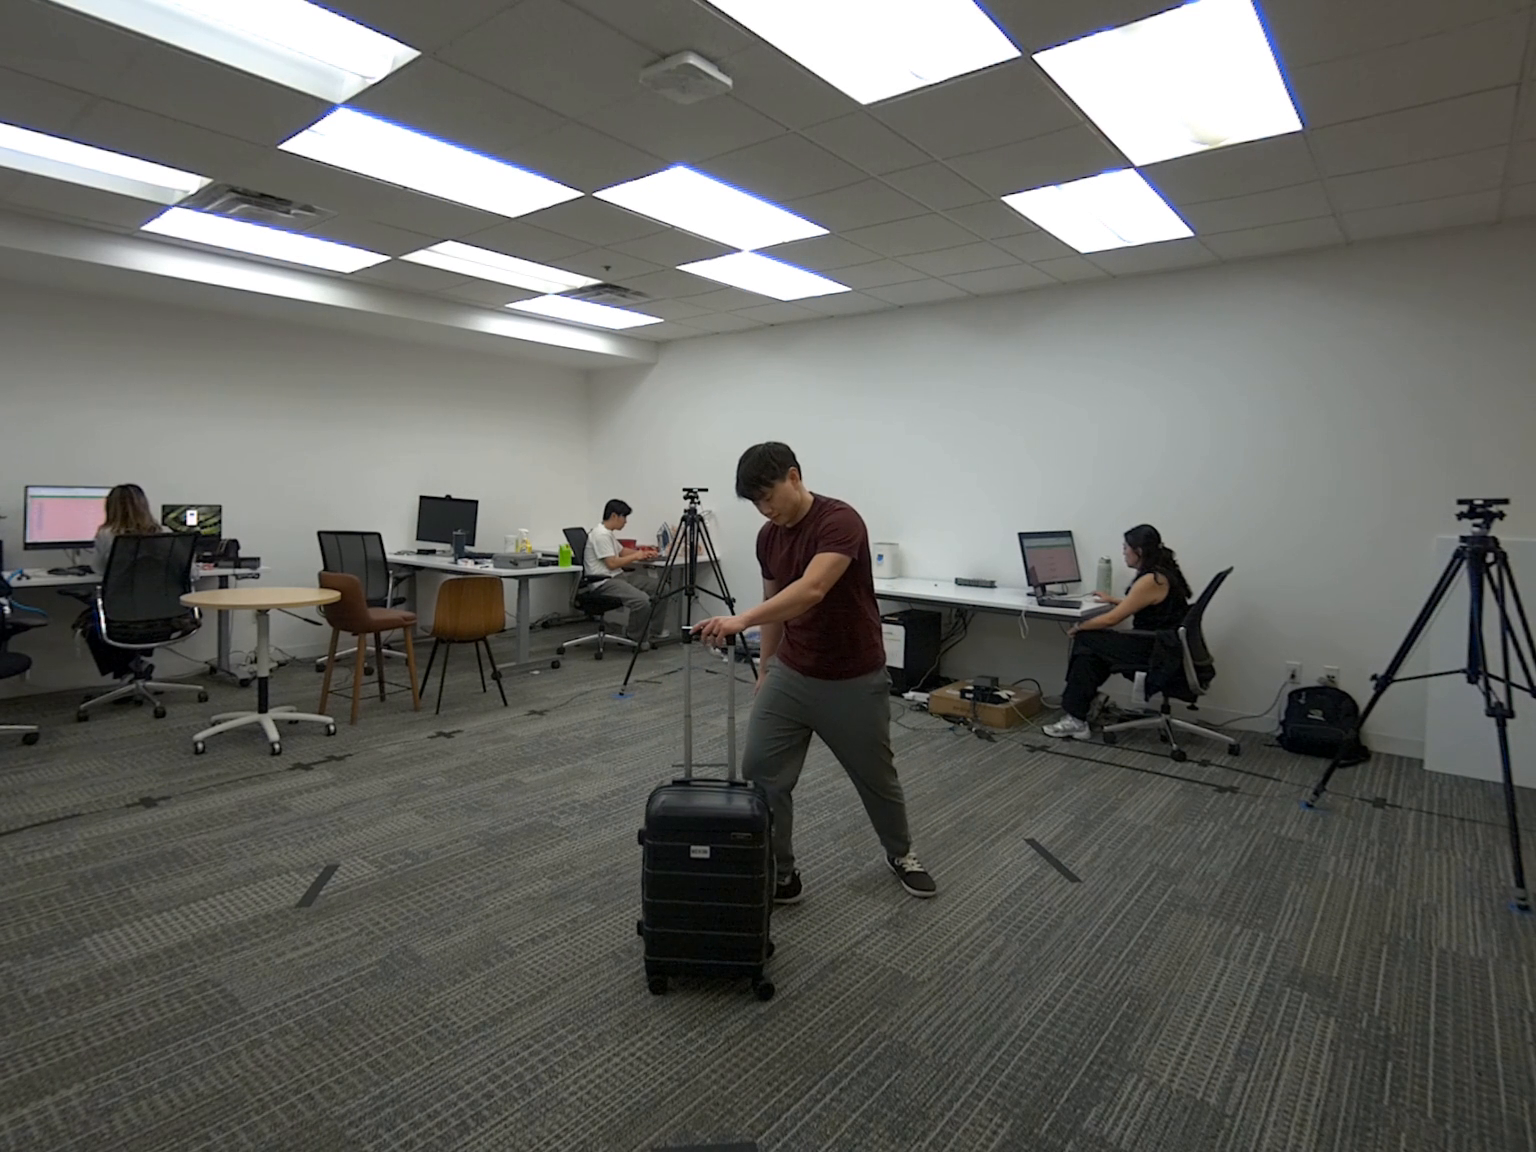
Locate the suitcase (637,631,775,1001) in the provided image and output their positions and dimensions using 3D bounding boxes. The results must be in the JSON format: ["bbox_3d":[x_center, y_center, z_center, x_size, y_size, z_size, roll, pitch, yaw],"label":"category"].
[{"bbox_3d":[-0.178,0.662,2.412,0.386,0.976,0.257,0,3,3],"label":"suitcase"}]
